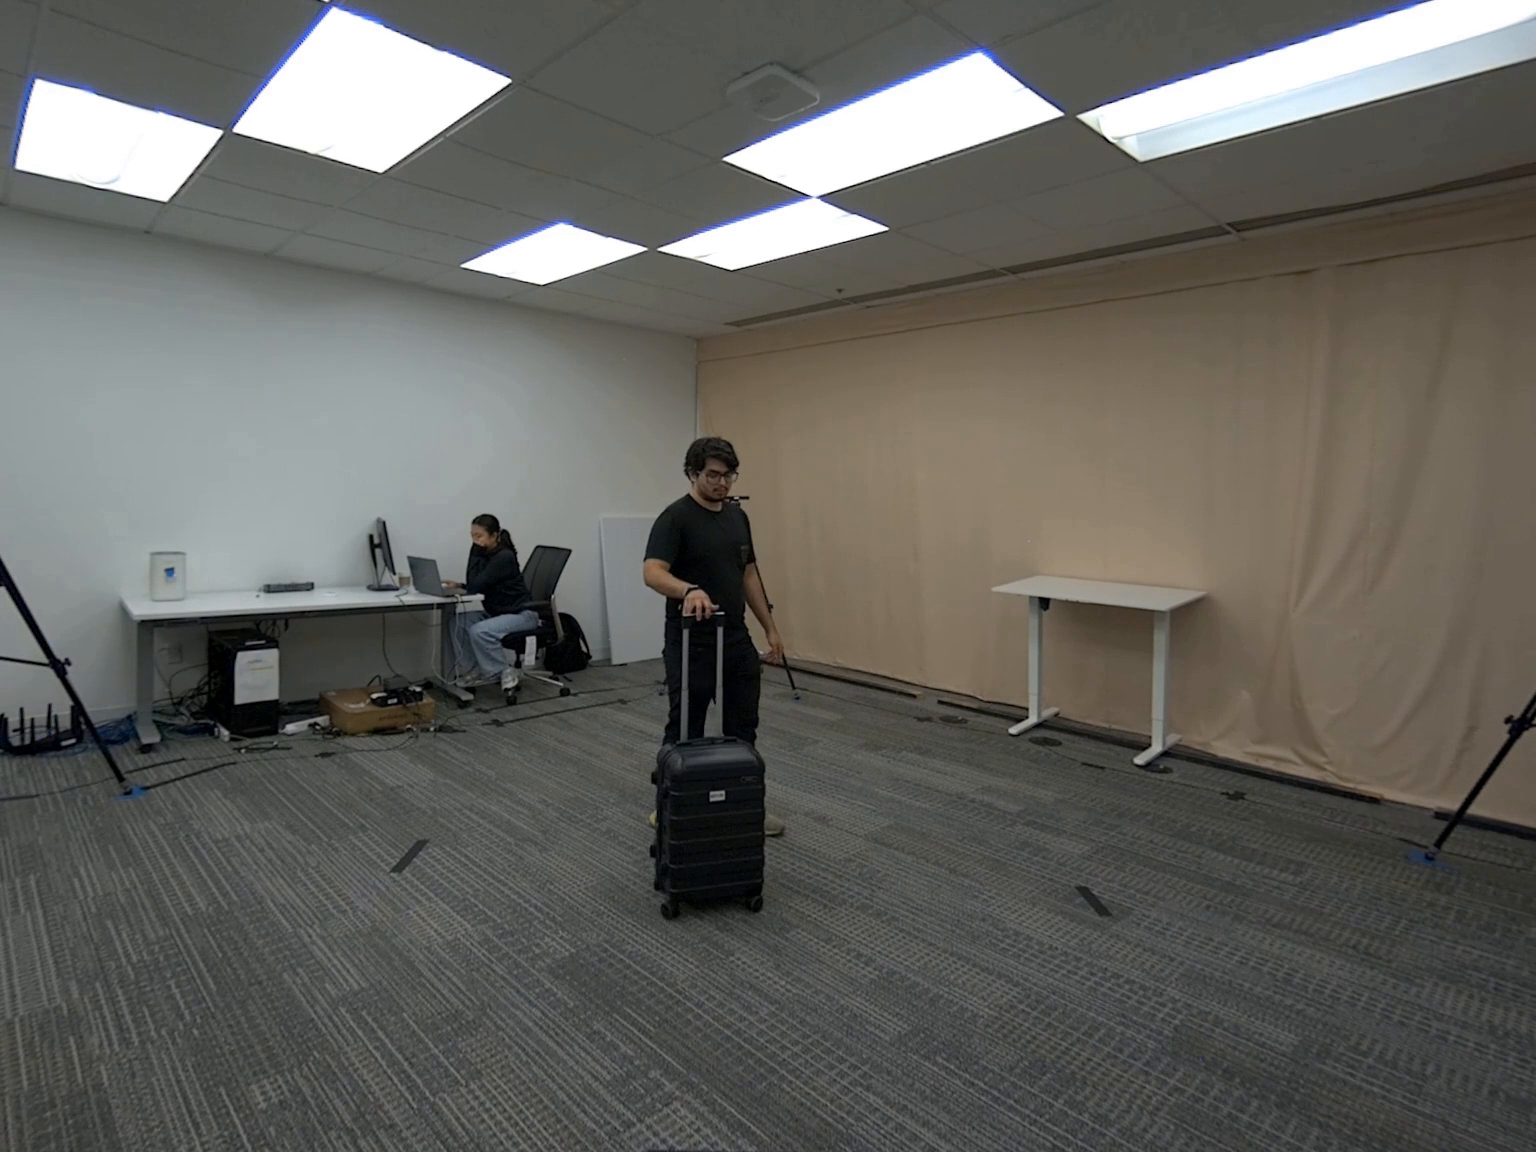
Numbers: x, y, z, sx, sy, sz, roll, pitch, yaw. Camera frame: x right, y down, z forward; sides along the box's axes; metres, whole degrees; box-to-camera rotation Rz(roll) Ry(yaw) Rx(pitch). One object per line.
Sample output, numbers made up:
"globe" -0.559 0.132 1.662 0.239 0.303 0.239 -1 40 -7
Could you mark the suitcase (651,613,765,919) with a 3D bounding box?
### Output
"suitcase" -0.204 0.648 2.878 0.379 0.975 0.261 0 4 -16
